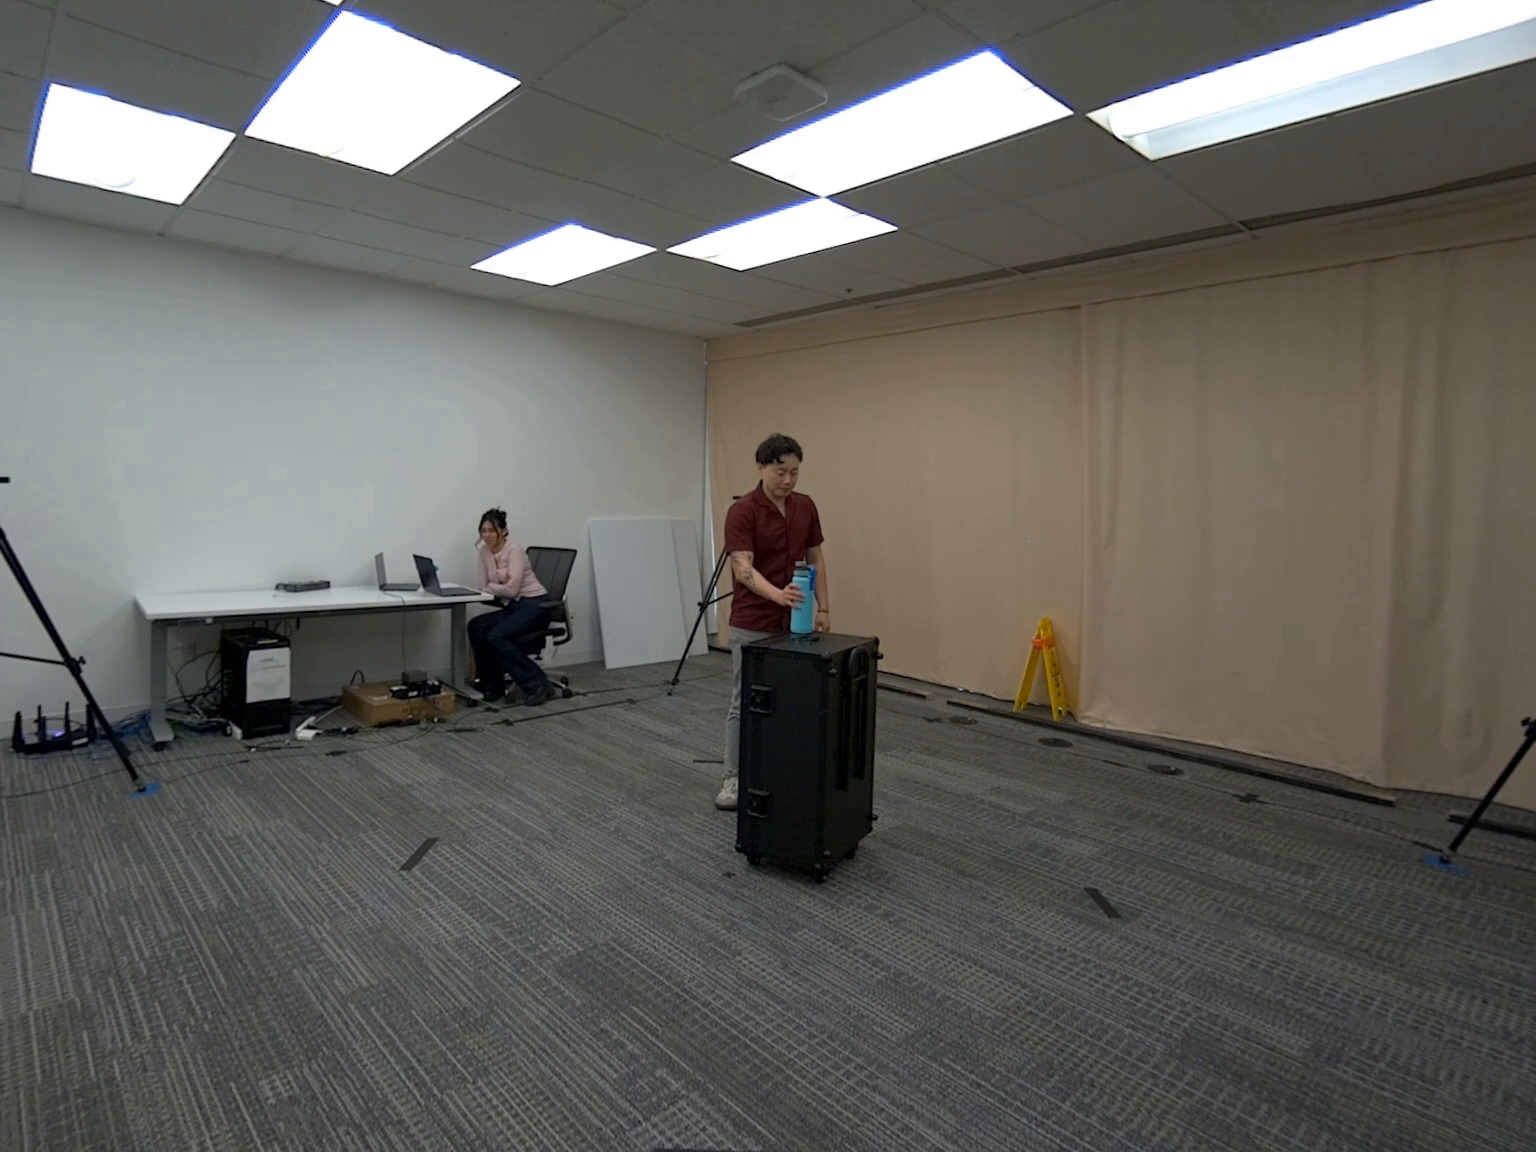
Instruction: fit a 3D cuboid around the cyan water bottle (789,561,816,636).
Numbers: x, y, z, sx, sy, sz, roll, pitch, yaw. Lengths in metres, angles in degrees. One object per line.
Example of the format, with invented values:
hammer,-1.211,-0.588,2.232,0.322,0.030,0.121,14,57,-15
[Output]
cyan water bottle,0.133,0.084,3.425,0.092,0.281,0.093,2,9,-2
